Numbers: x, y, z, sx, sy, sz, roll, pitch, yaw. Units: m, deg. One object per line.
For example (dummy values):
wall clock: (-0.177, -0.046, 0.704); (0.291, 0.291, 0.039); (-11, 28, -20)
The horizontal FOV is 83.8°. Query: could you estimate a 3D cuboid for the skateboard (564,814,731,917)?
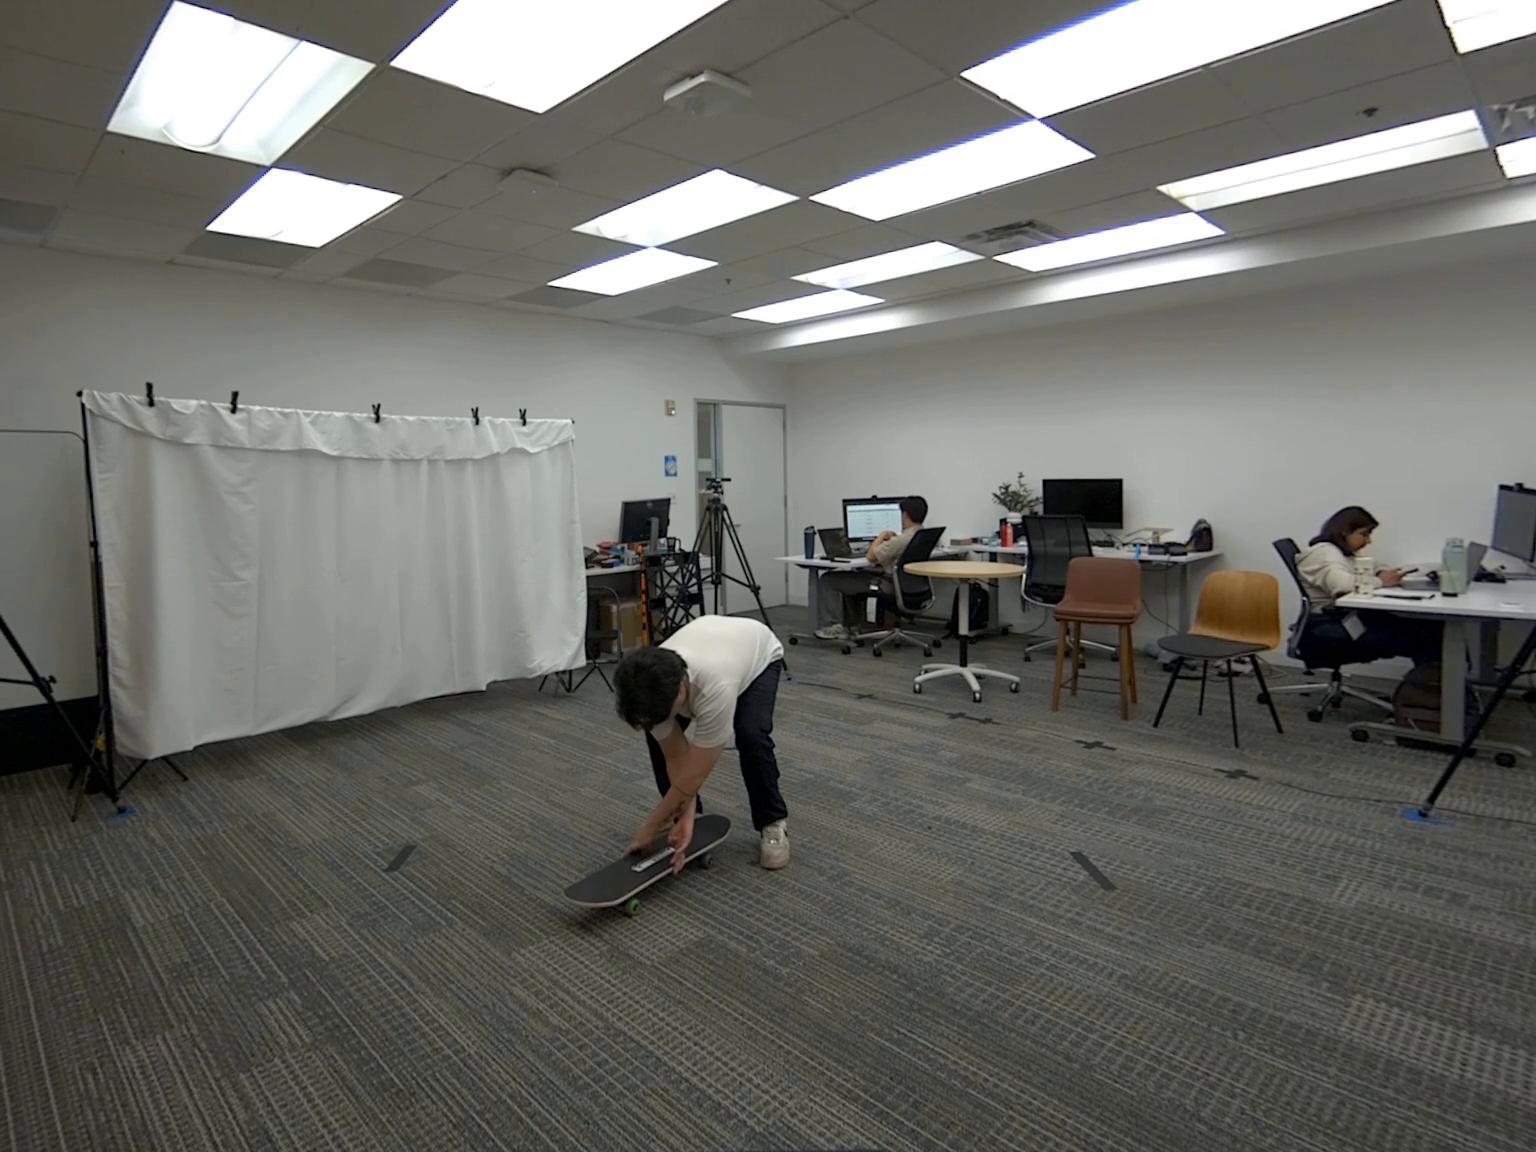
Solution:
skateboard: (-0.389, 1.009, 2.952); (0.199, 0.110, 0.767); (3, 8, 33)
